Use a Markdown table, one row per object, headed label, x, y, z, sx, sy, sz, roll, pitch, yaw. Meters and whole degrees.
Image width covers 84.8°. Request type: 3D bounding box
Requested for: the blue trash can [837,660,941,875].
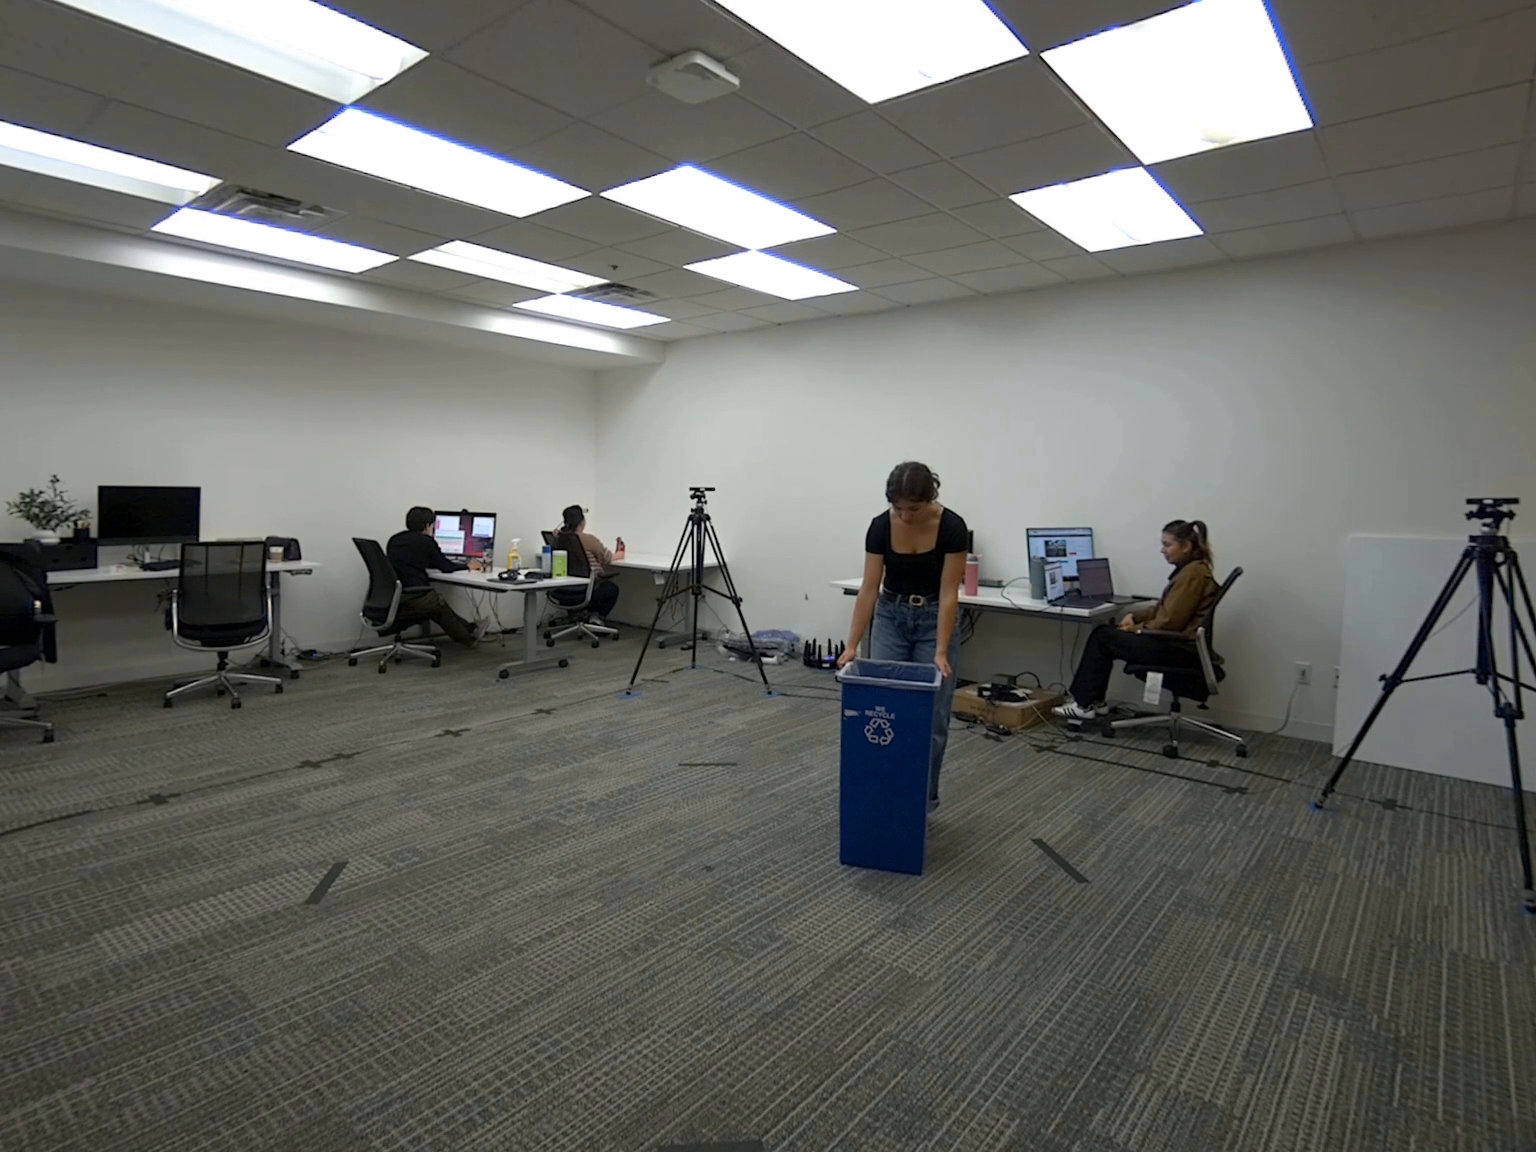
| label | x | y | z | sx | sy | sz | roll | pitch | yaw |
| --- | --- | --- | --- | --- | --- | --- | --- | --- | --- |
| blue trash can | 0.455 | 0.709 | 3.254 | 0.380 | 0.711 | 0.373 | 2 | 3 | 14 |
